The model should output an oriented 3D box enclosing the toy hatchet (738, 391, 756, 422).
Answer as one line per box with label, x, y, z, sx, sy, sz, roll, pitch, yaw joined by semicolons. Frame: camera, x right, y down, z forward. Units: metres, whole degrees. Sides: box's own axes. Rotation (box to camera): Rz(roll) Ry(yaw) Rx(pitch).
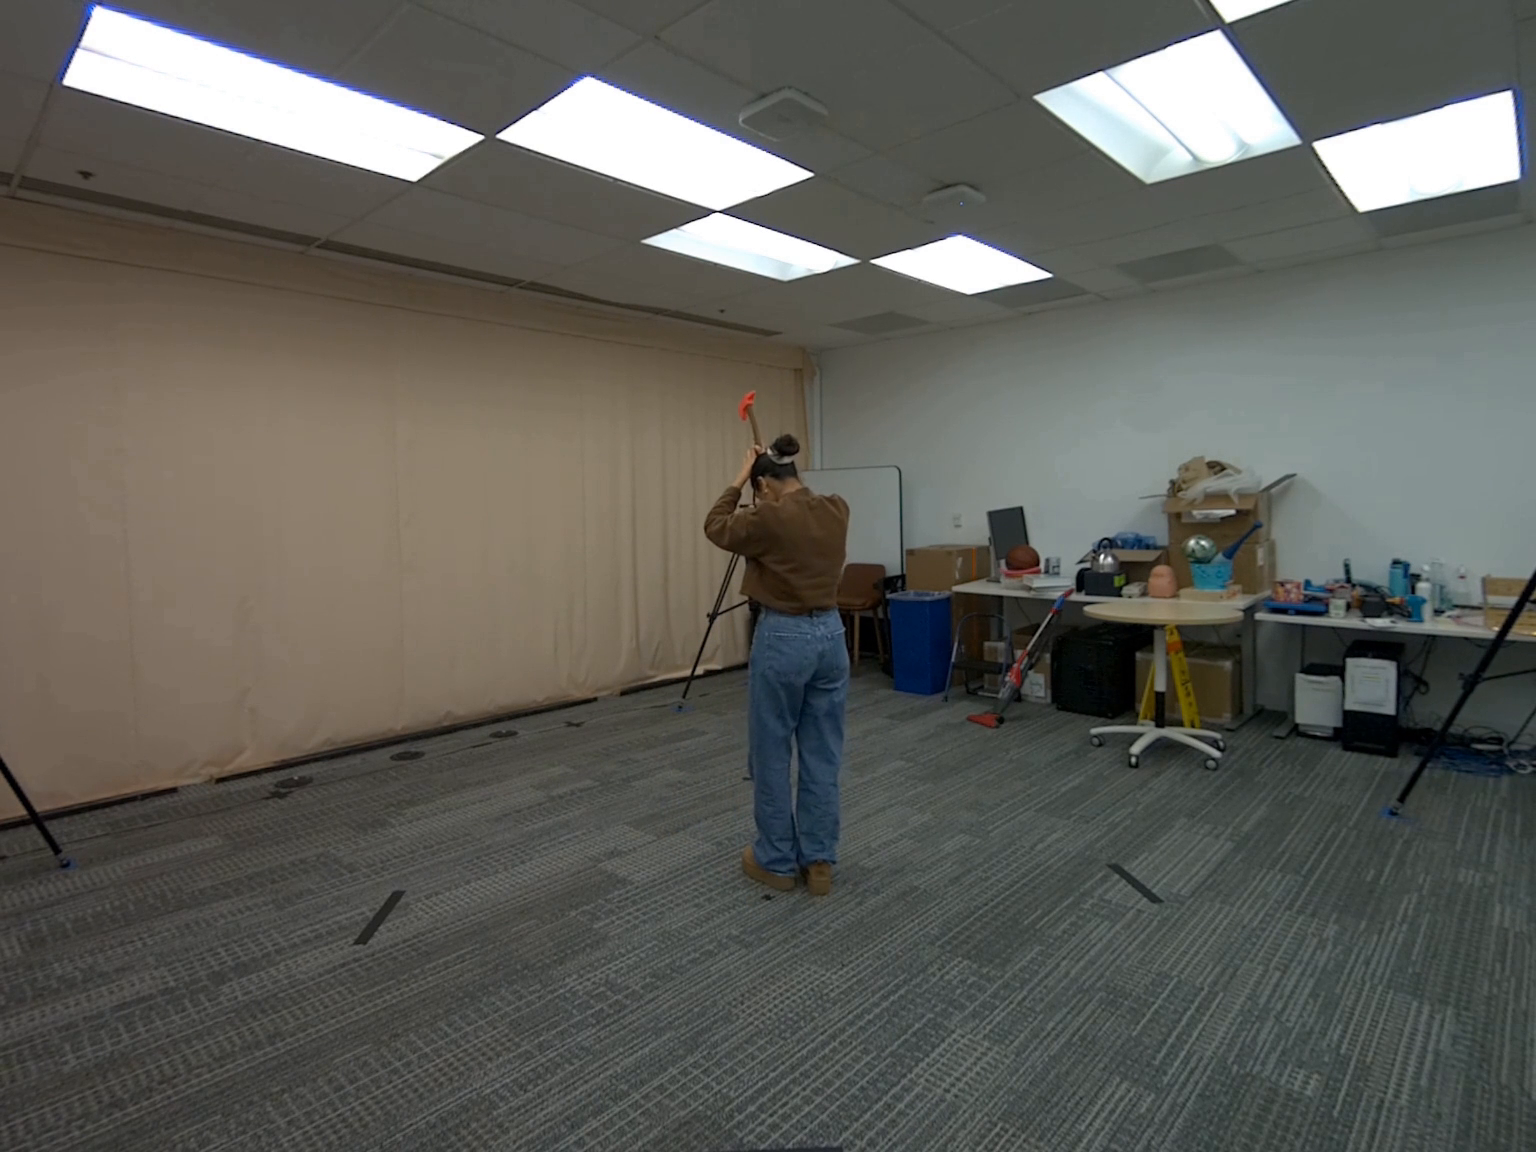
toy hatchet;-0.068;-0.577;3.265;0.029;0.271;0.134;-2;-8;-32
